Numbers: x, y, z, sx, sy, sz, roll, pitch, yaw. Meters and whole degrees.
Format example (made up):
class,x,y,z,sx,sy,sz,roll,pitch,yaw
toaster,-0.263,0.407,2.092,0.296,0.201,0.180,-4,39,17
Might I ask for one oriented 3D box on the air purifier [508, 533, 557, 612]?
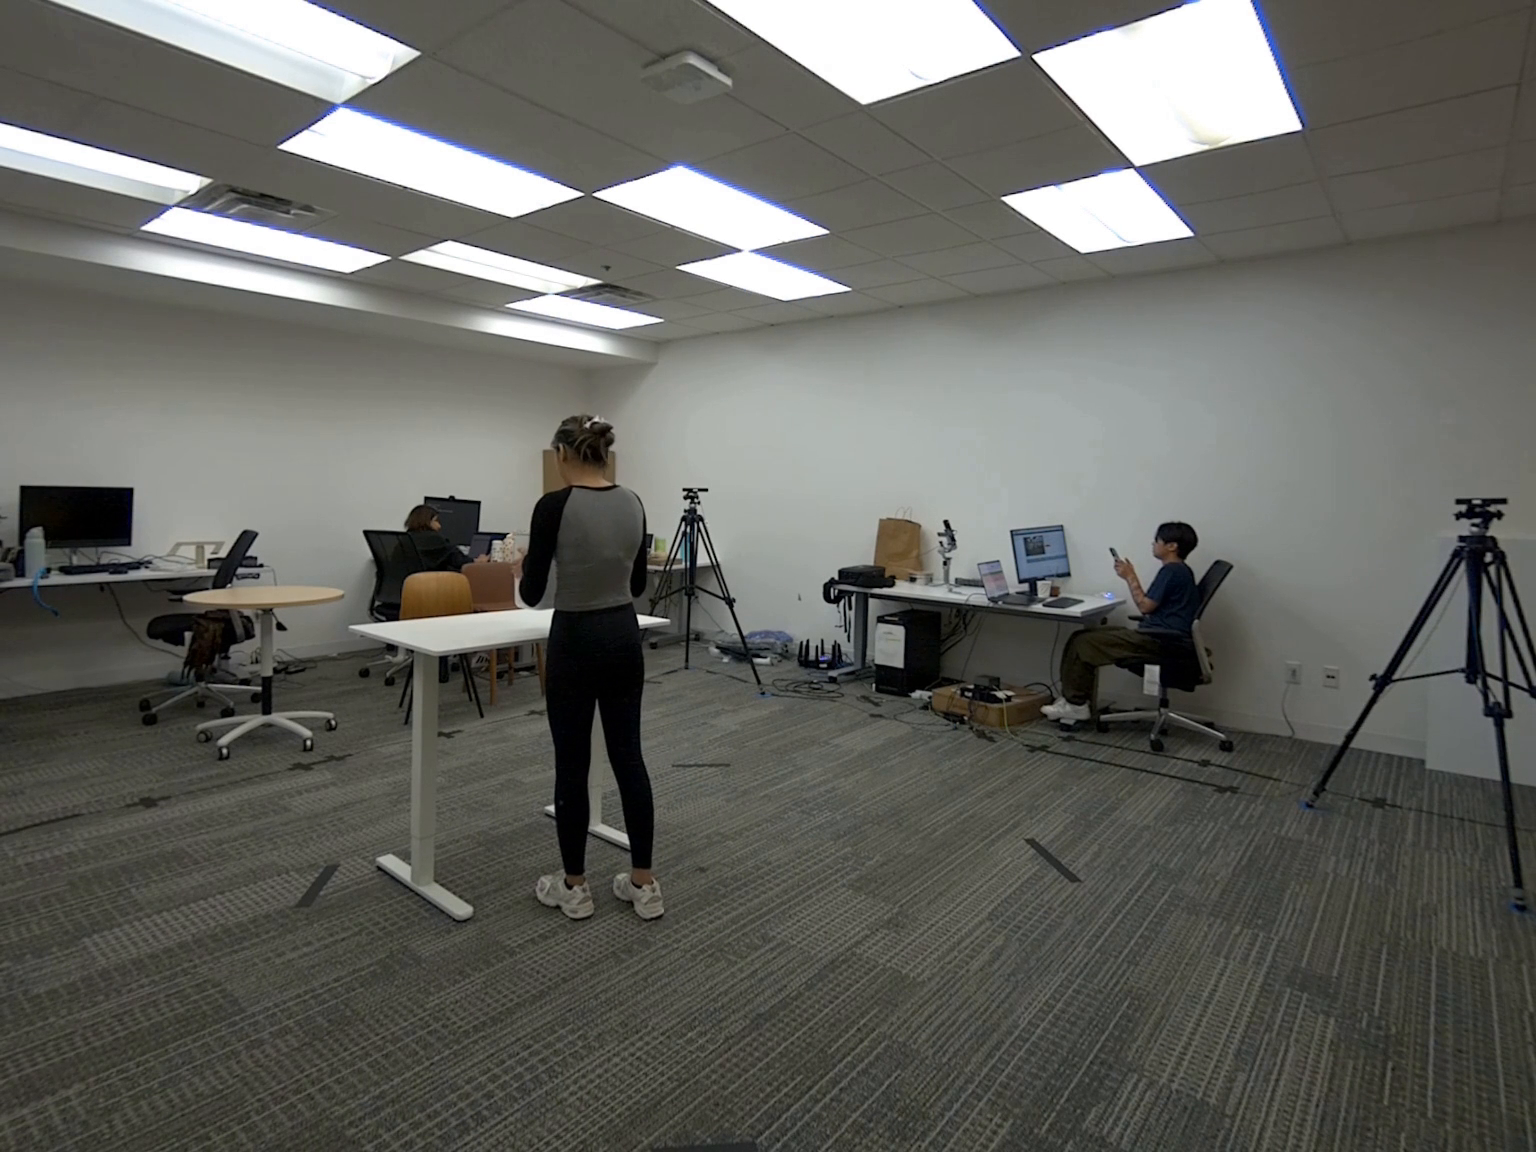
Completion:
class,x,y,z,sx,sy,sz,roll,pitch,yaw
air purifier,-0.805,-0.019,3.001,0.177,0.265,0.166,2,2,44
